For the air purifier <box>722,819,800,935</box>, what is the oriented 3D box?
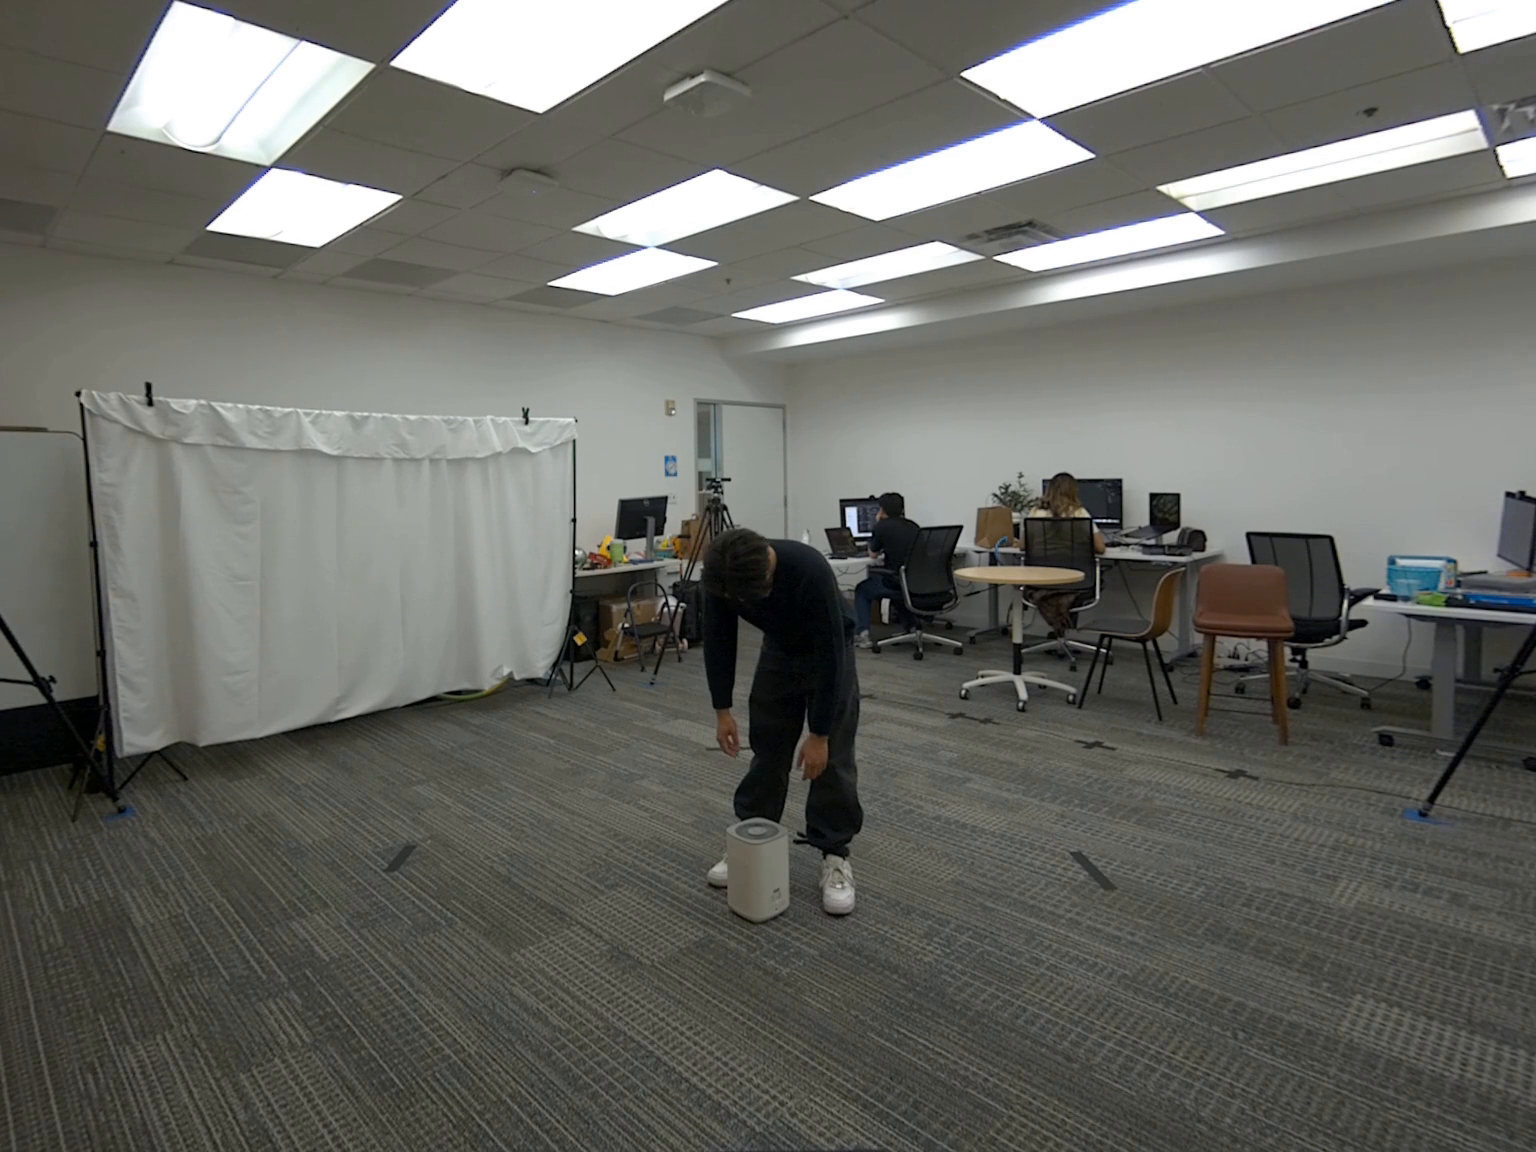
[{"bbox_3d":[-0.023,0.956,2.752,0.166,0.264,0.177,-6,7,-43],"label":"air purifier"}]
